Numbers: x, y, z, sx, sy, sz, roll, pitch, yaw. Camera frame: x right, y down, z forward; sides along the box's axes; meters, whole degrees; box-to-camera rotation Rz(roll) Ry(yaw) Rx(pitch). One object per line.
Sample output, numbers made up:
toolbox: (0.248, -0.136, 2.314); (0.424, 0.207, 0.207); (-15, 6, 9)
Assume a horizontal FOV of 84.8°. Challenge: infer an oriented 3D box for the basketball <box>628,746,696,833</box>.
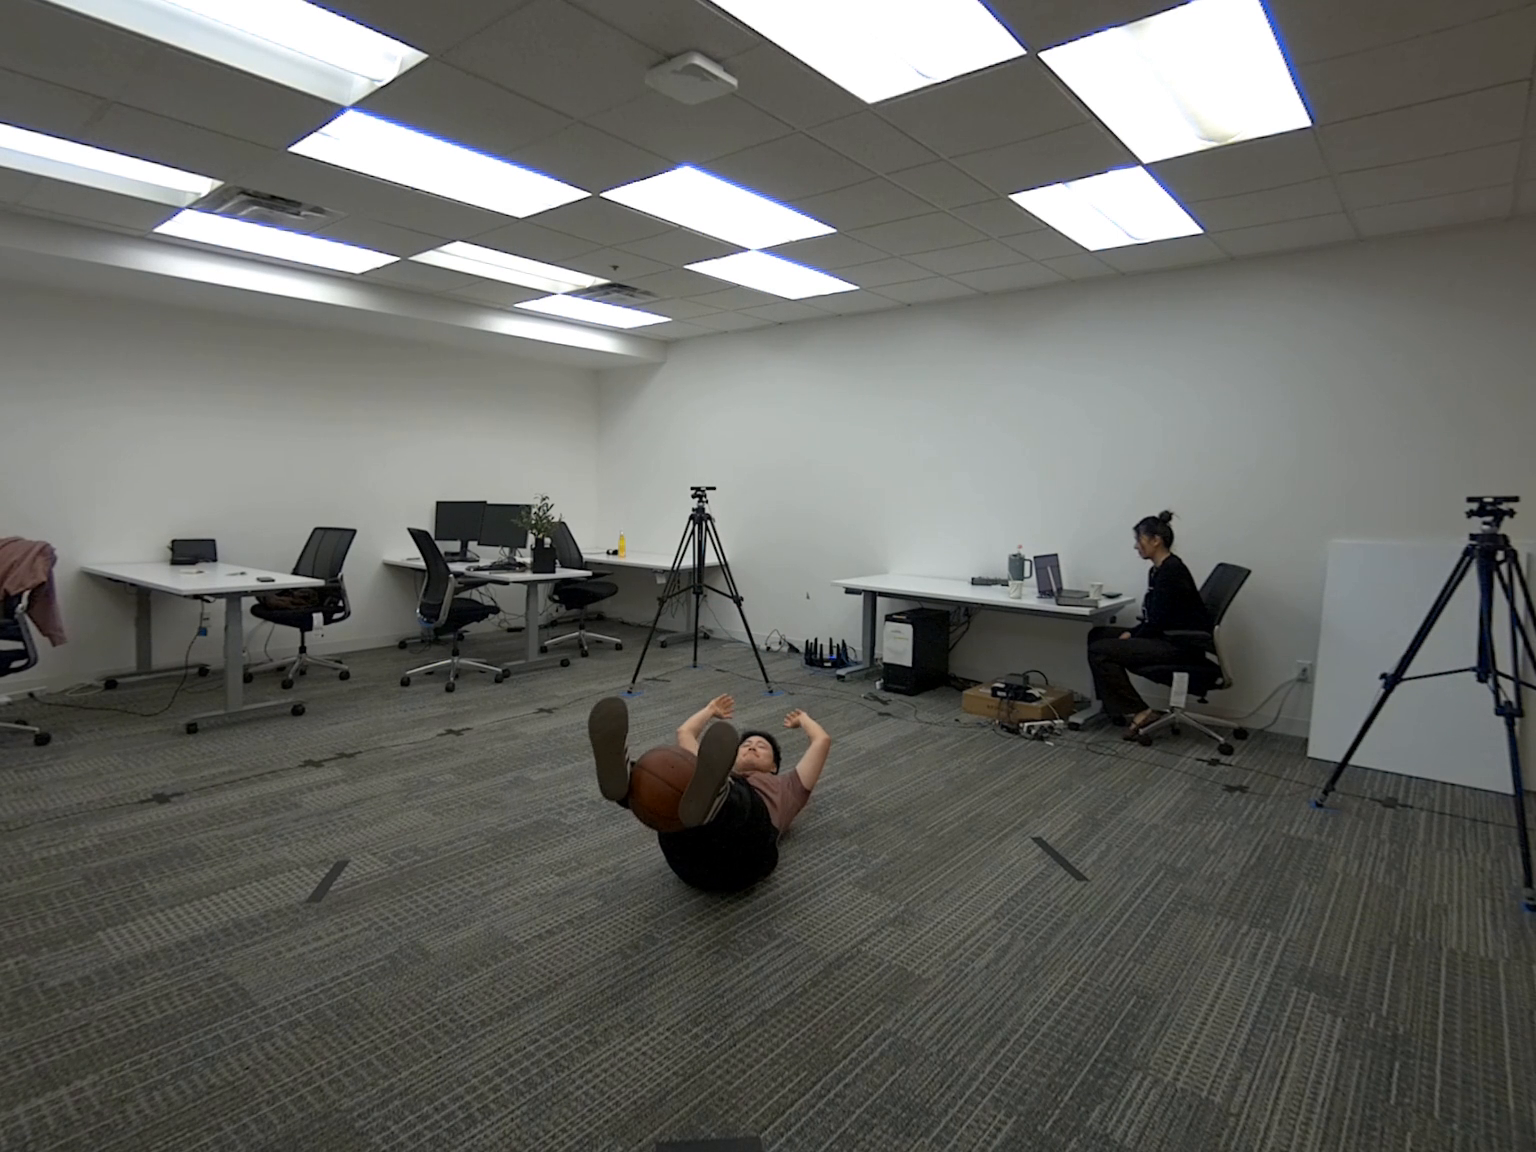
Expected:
basketball: (-0.291, 0.599, 2.400); (0.236, 0.235, 0.237); (-3, 3, -2)
